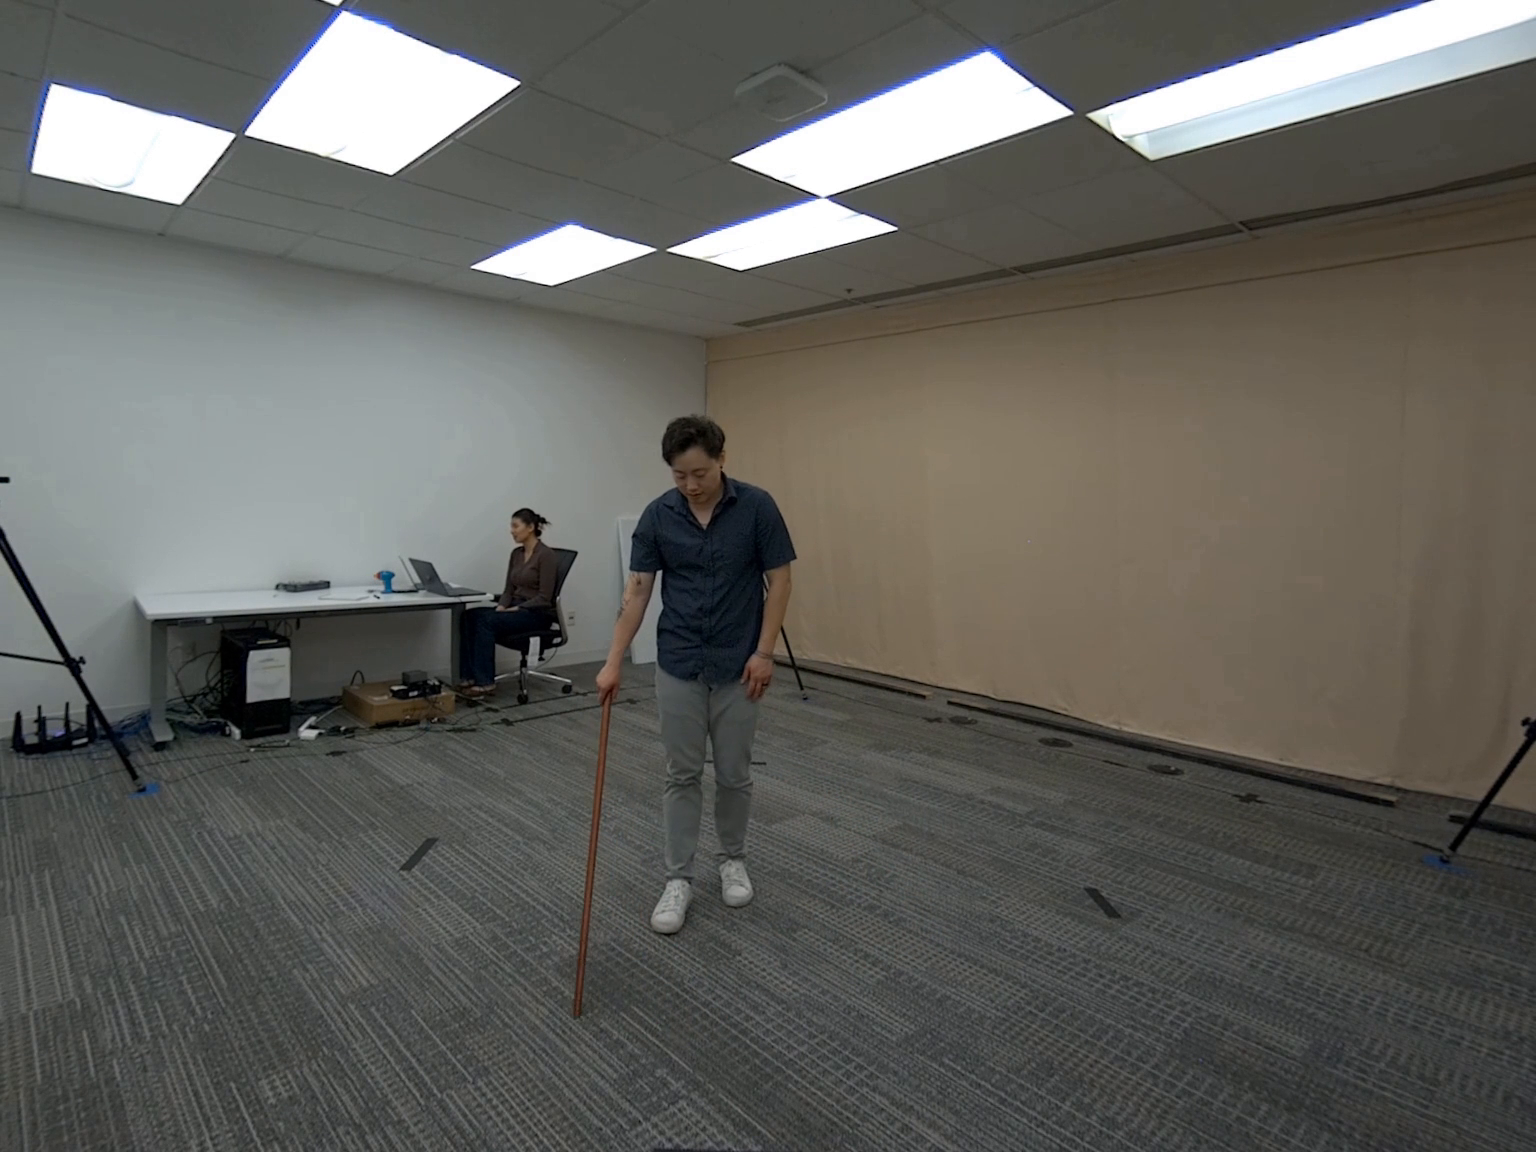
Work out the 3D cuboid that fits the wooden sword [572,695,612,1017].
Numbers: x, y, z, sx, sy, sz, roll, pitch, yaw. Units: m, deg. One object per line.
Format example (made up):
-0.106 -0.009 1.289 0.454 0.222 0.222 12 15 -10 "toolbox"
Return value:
-0.529 0.759 2.543 0.050 1.047 0.024 9 -38 -16 "wooden sword"
